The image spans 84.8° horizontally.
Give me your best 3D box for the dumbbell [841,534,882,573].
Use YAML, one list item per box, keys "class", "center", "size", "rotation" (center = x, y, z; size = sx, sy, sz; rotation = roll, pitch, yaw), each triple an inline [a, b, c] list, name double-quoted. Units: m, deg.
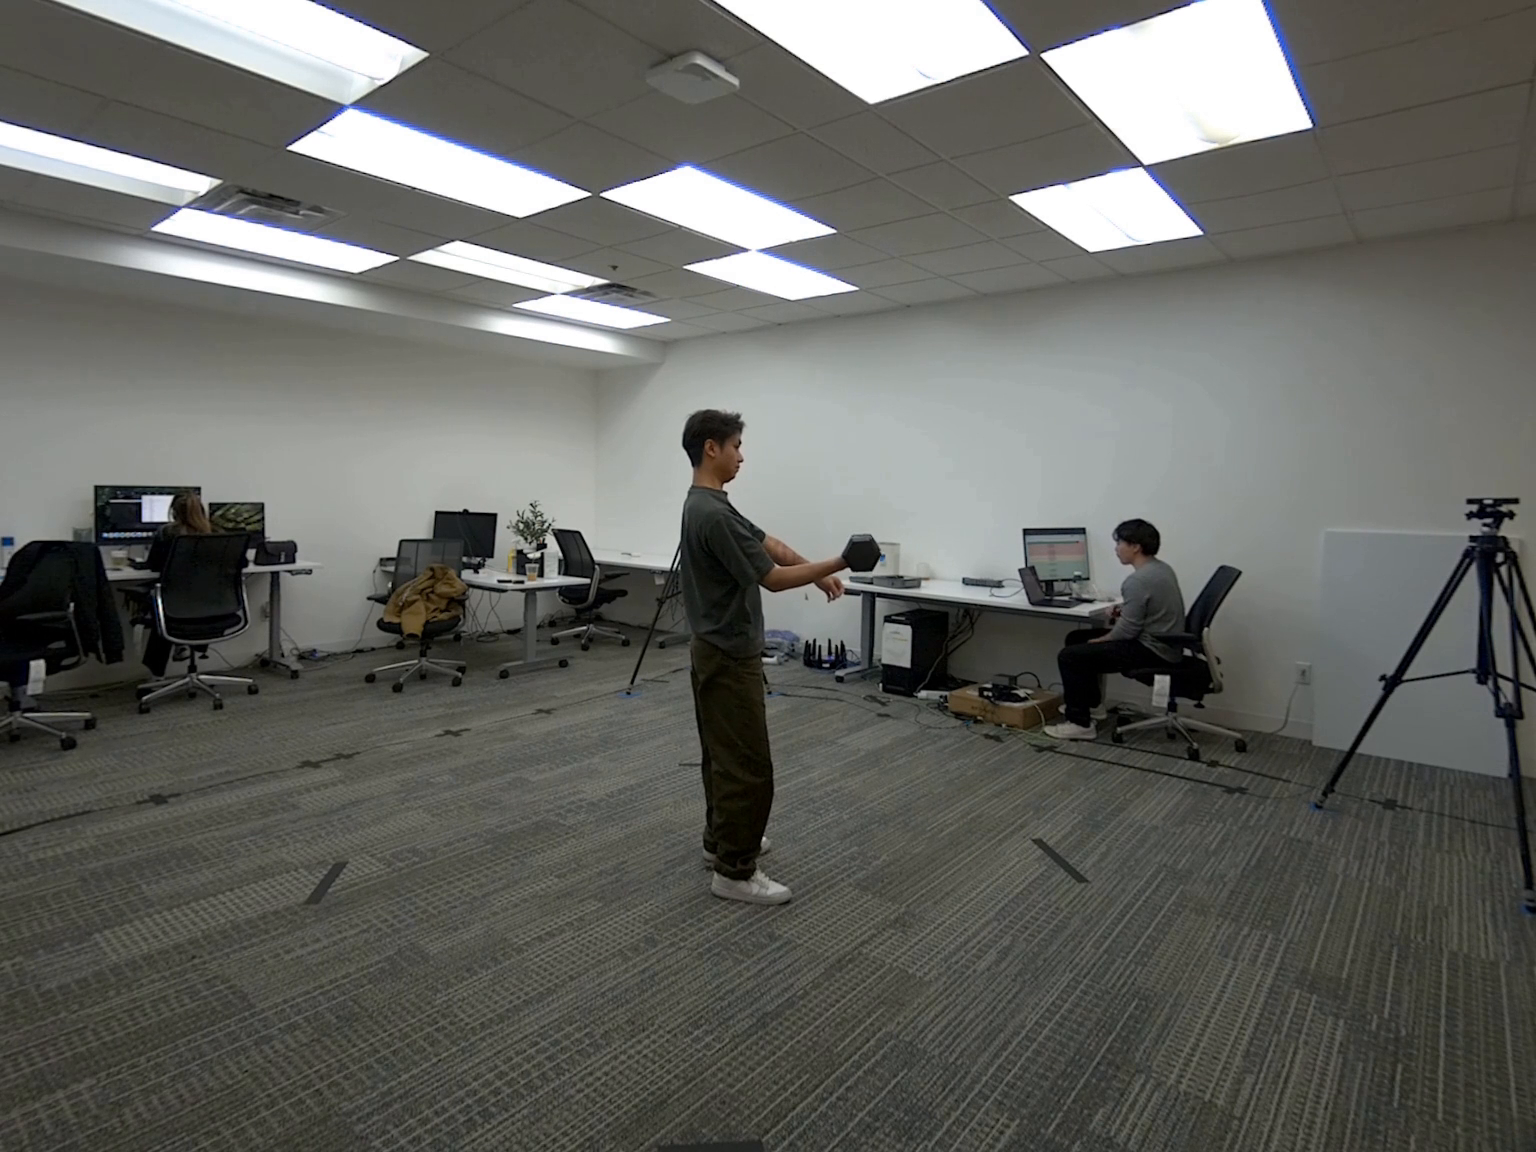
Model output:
- class: "dumbbell"
  center: [0.293, -0.088, 2.758]
  size: [0.110, 0.122, 0.292]
  rotation: [27, 7, 4]
